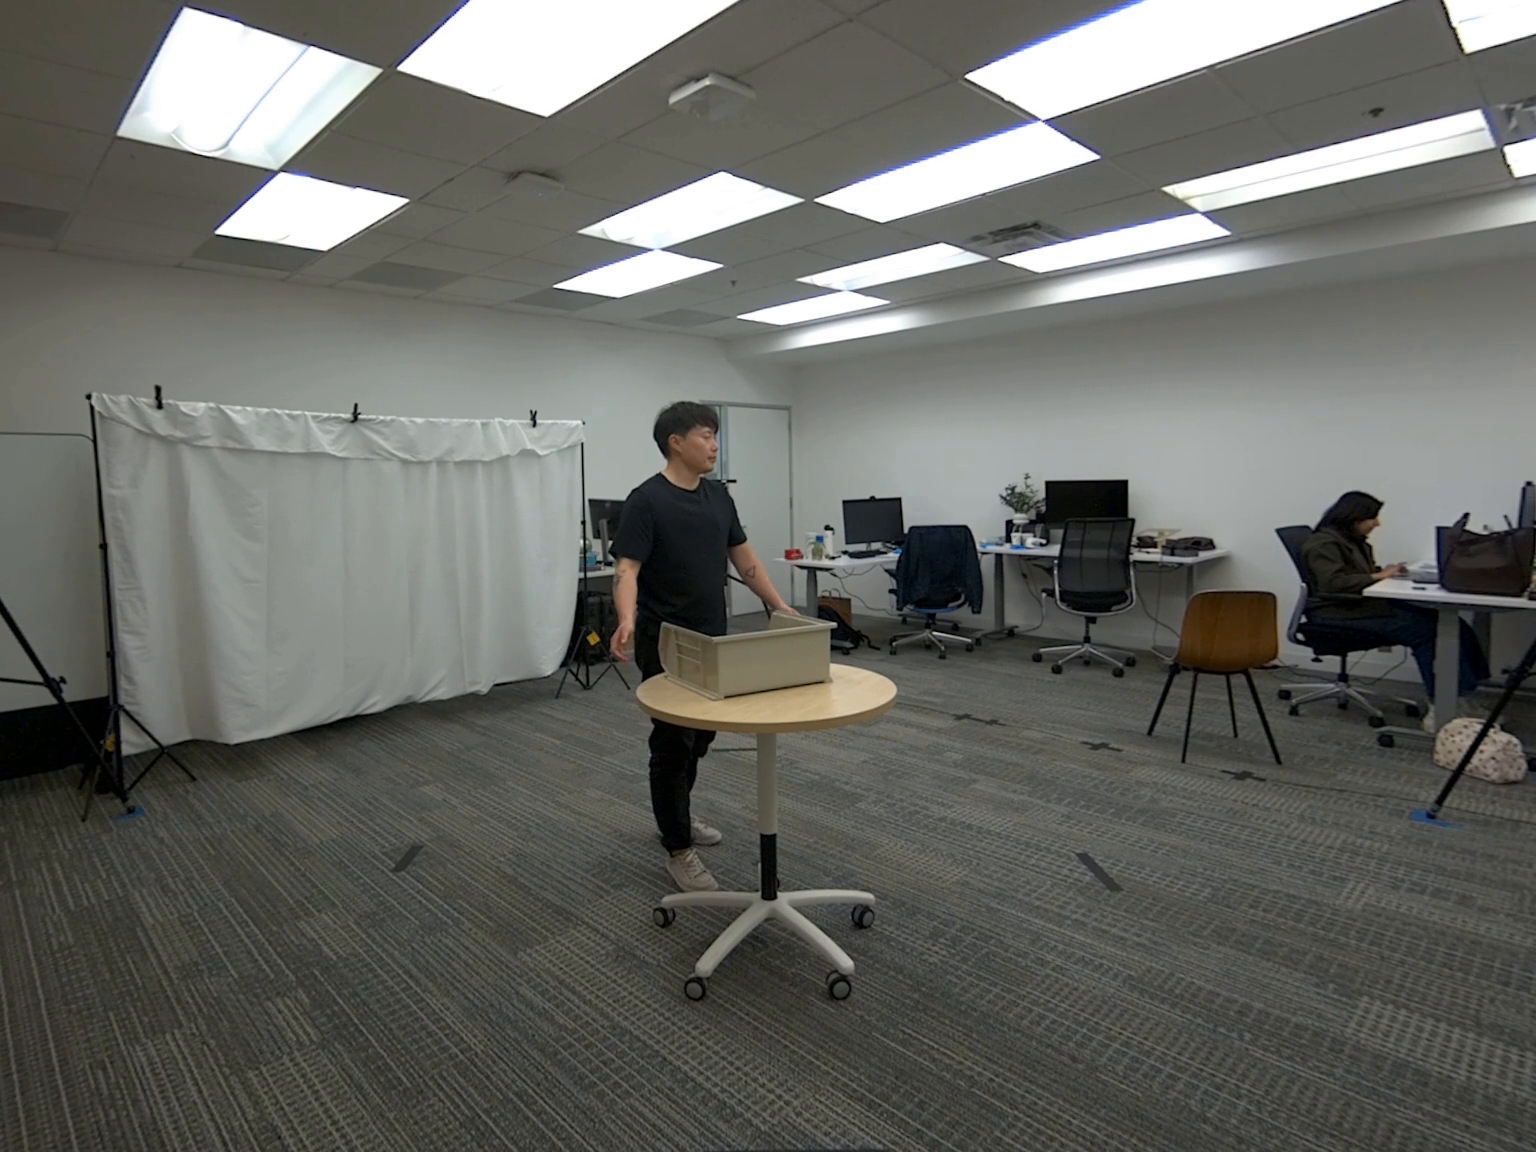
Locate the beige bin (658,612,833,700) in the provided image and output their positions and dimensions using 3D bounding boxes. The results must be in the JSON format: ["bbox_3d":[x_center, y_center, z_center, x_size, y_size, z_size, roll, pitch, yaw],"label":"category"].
[{"bbox_3d":[-0.063,0.235,2.621,0.412,0.188,0.388,-4,8,-30],"label":"beige bin"}]
